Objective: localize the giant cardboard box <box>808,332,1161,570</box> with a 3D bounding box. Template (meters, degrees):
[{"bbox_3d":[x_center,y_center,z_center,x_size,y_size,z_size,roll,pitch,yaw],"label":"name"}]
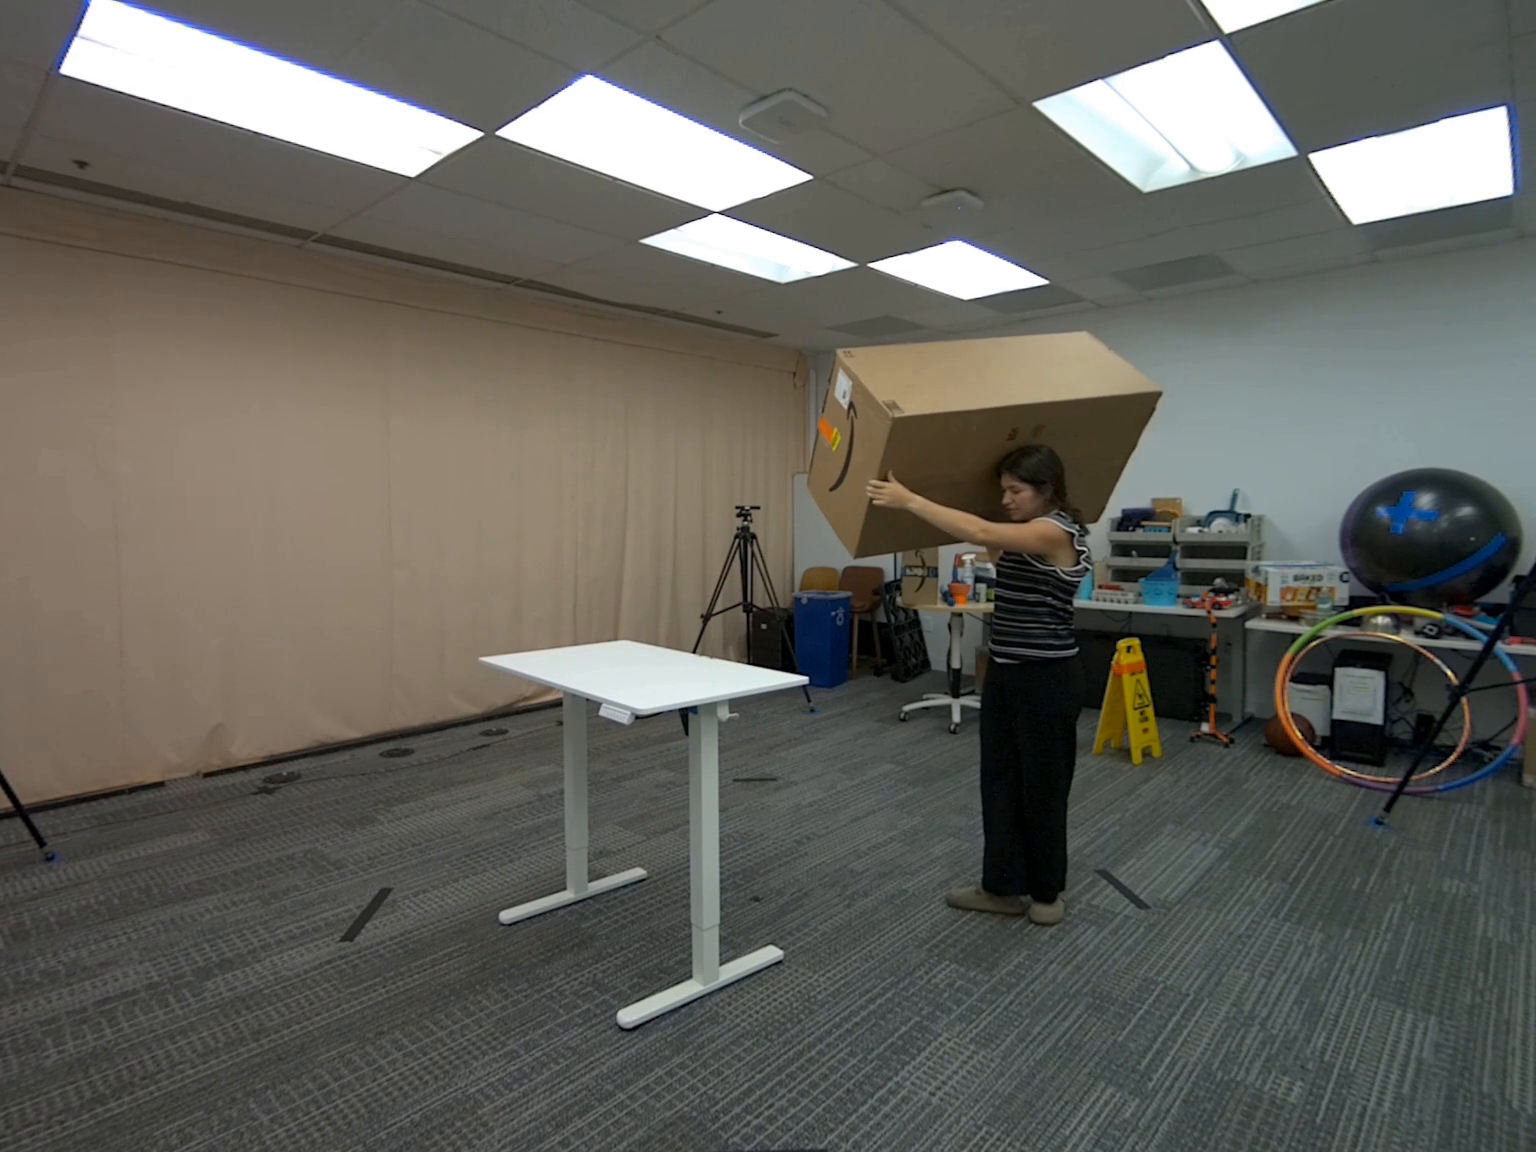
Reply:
[{"bbox_3d":[0.729,-0.473,2.980,1.008,0.569,0.439,-8,44,-18],"label":"giant cardboard box"}]
